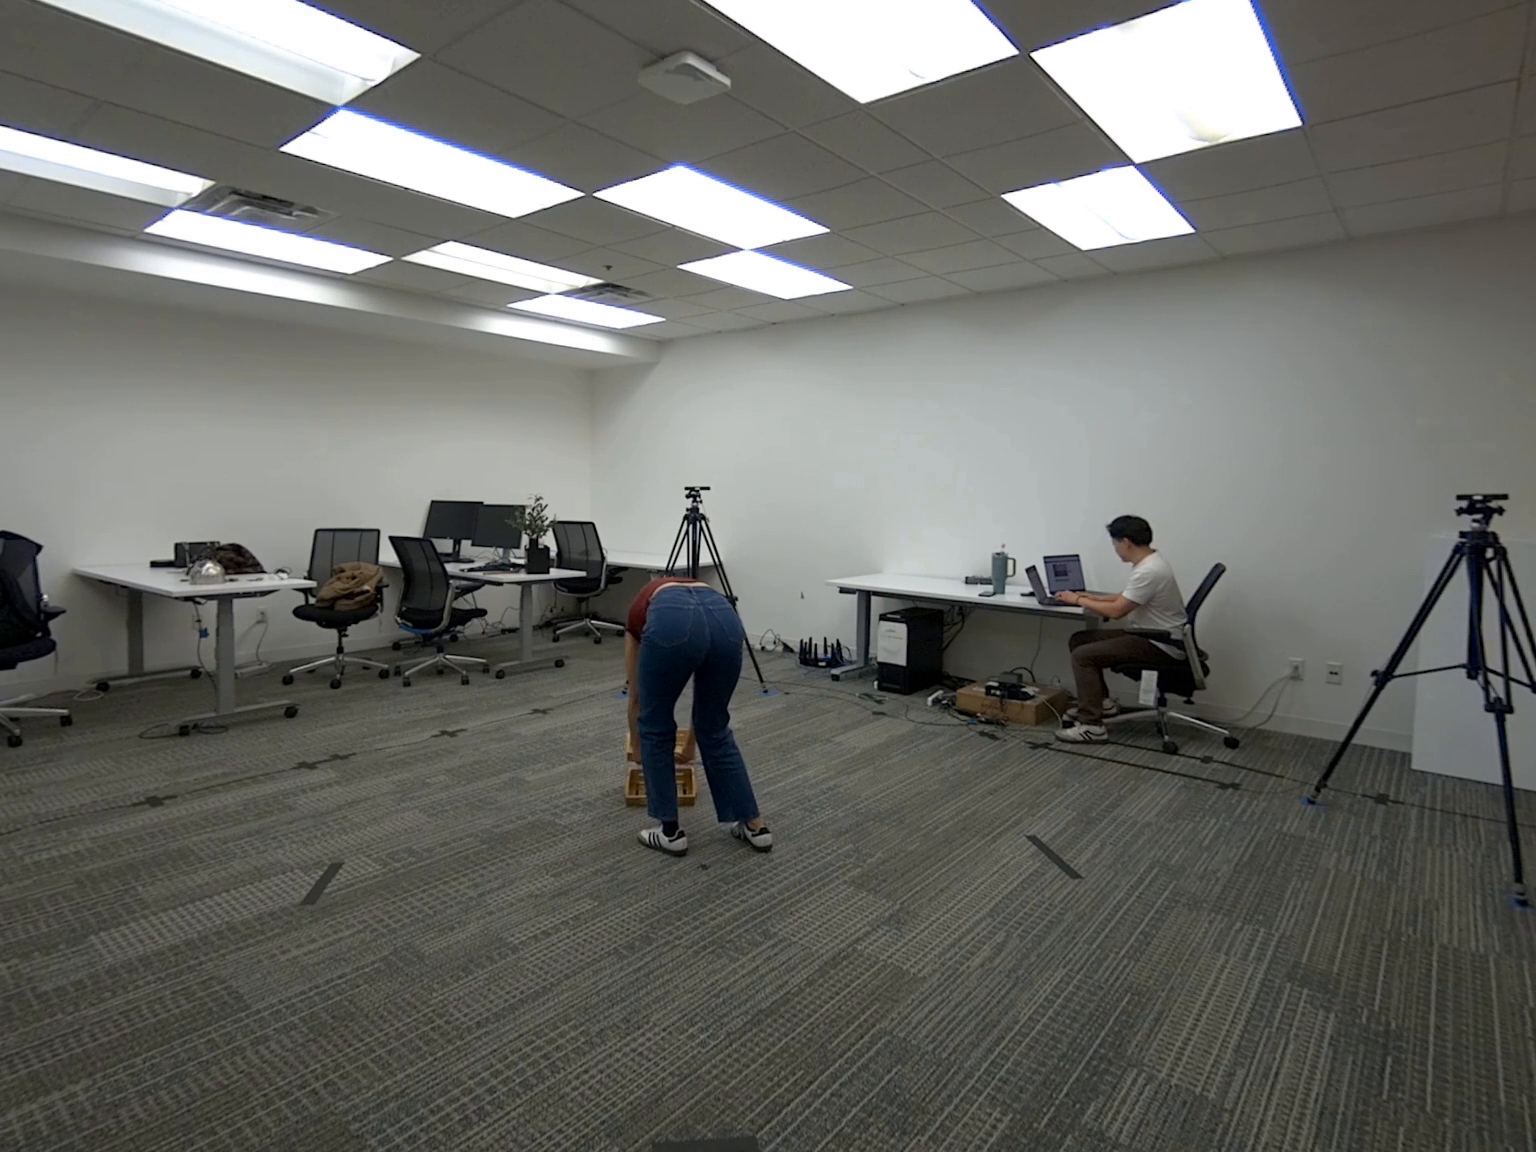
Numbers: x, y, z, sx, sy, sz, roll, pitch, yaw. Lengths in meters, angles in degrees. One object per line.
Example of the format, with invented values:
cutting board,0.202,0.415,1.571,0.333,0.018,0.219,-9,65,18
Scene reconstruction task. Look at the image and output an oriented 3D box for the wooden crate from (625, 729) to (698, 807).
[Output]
wooden crate,-0.492,0.856,3.837,0.323,0.272,0.304,0,4,-6
